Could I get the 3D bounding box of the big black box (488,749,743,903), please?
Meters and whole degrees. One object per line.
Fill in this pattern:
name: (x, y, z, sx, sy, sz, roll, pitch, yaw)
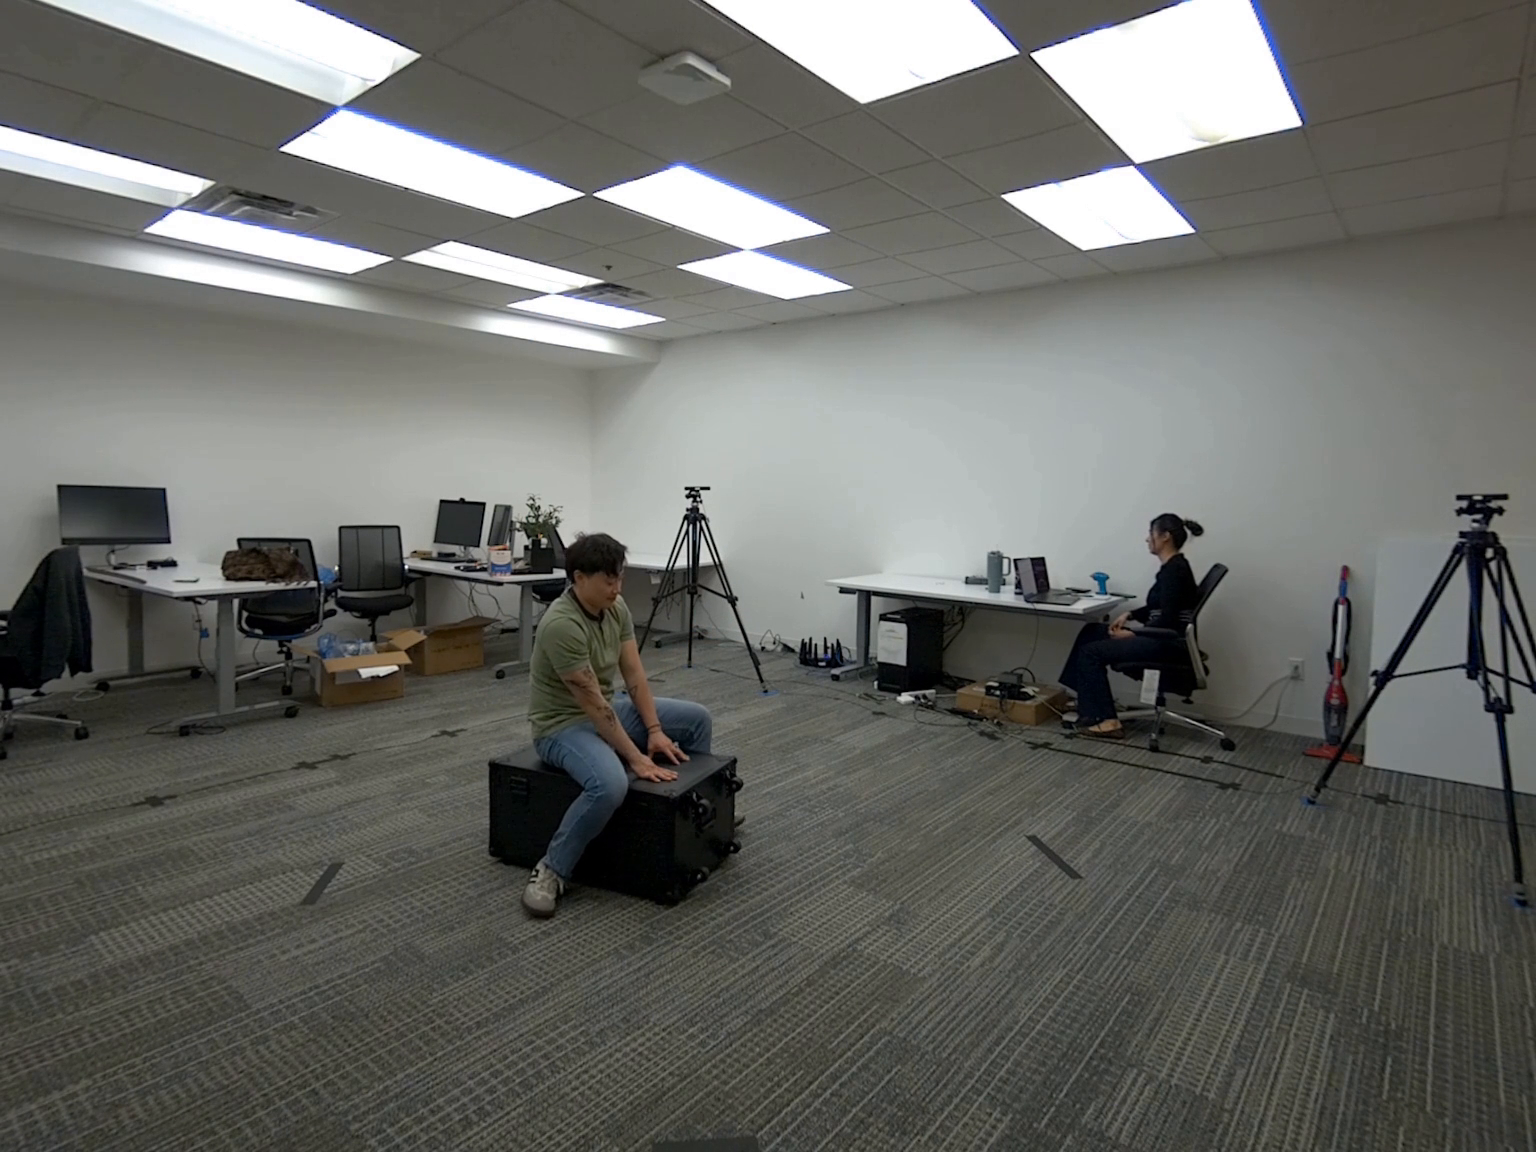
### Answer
big black box: (-0.557, 0.868, 3.156, 0.882, 0.395, 0.510, 2, 4, 24)
